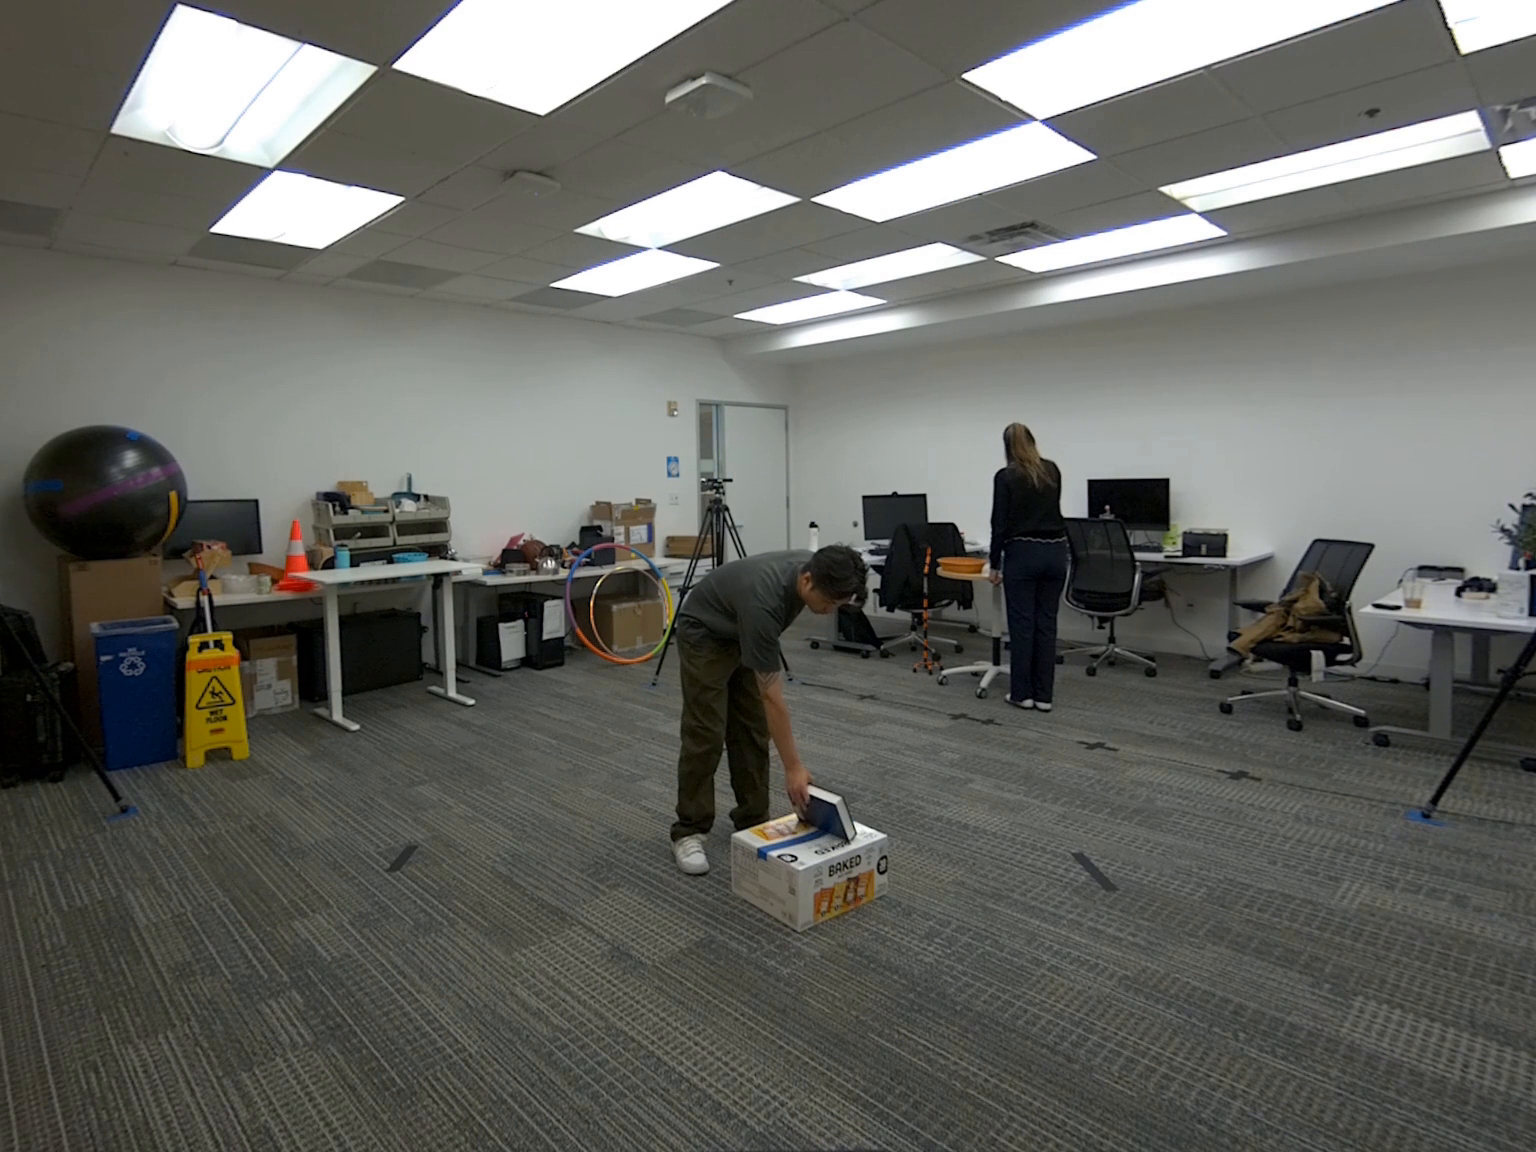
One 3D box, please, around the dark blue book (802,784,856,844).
[{"bbox_3d":[0.180,0.789,2.894,0.045,0.160,0.253,-32,23,-33],"label":"dark blue book"}]
